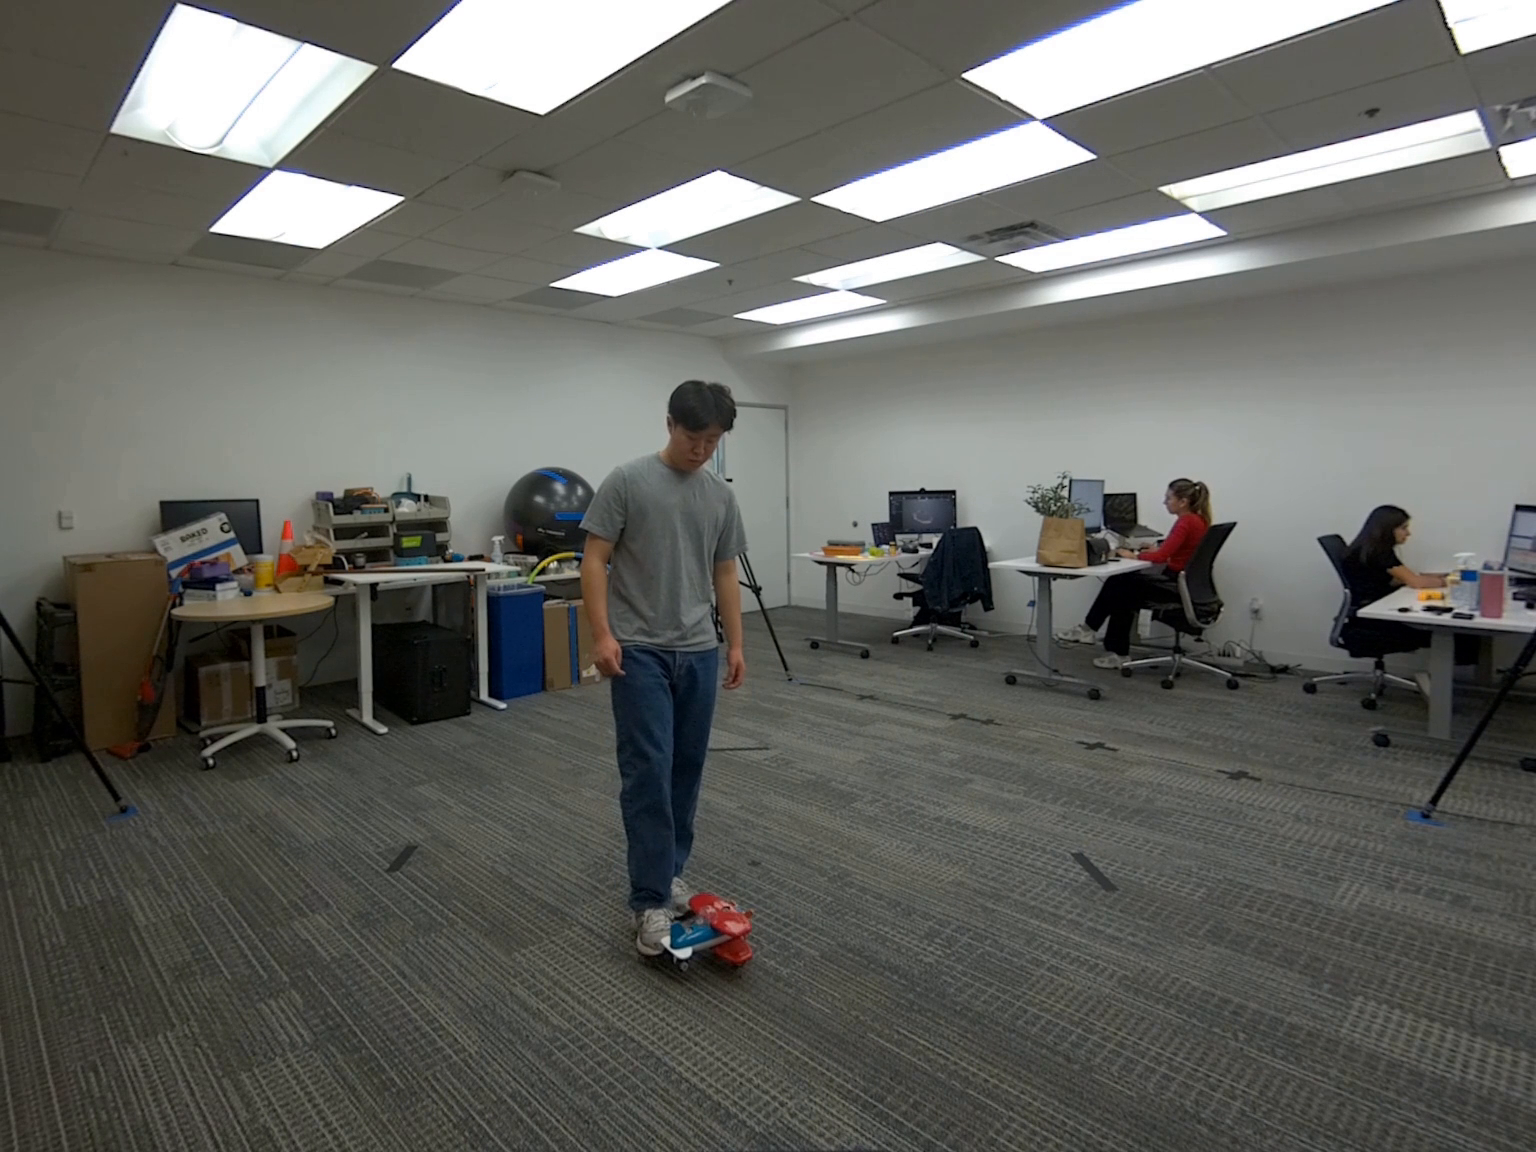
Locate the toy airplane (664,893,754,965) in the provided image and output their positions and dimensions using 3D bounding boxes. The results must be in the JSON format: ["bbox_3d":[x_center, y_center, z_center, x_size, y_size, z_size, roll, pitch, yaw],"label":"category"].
[{"bbox_3d":[-0.157,1.037,2.435,0.257,0.157,0.252,6,-2,25],"label":"toy airplane"}]
